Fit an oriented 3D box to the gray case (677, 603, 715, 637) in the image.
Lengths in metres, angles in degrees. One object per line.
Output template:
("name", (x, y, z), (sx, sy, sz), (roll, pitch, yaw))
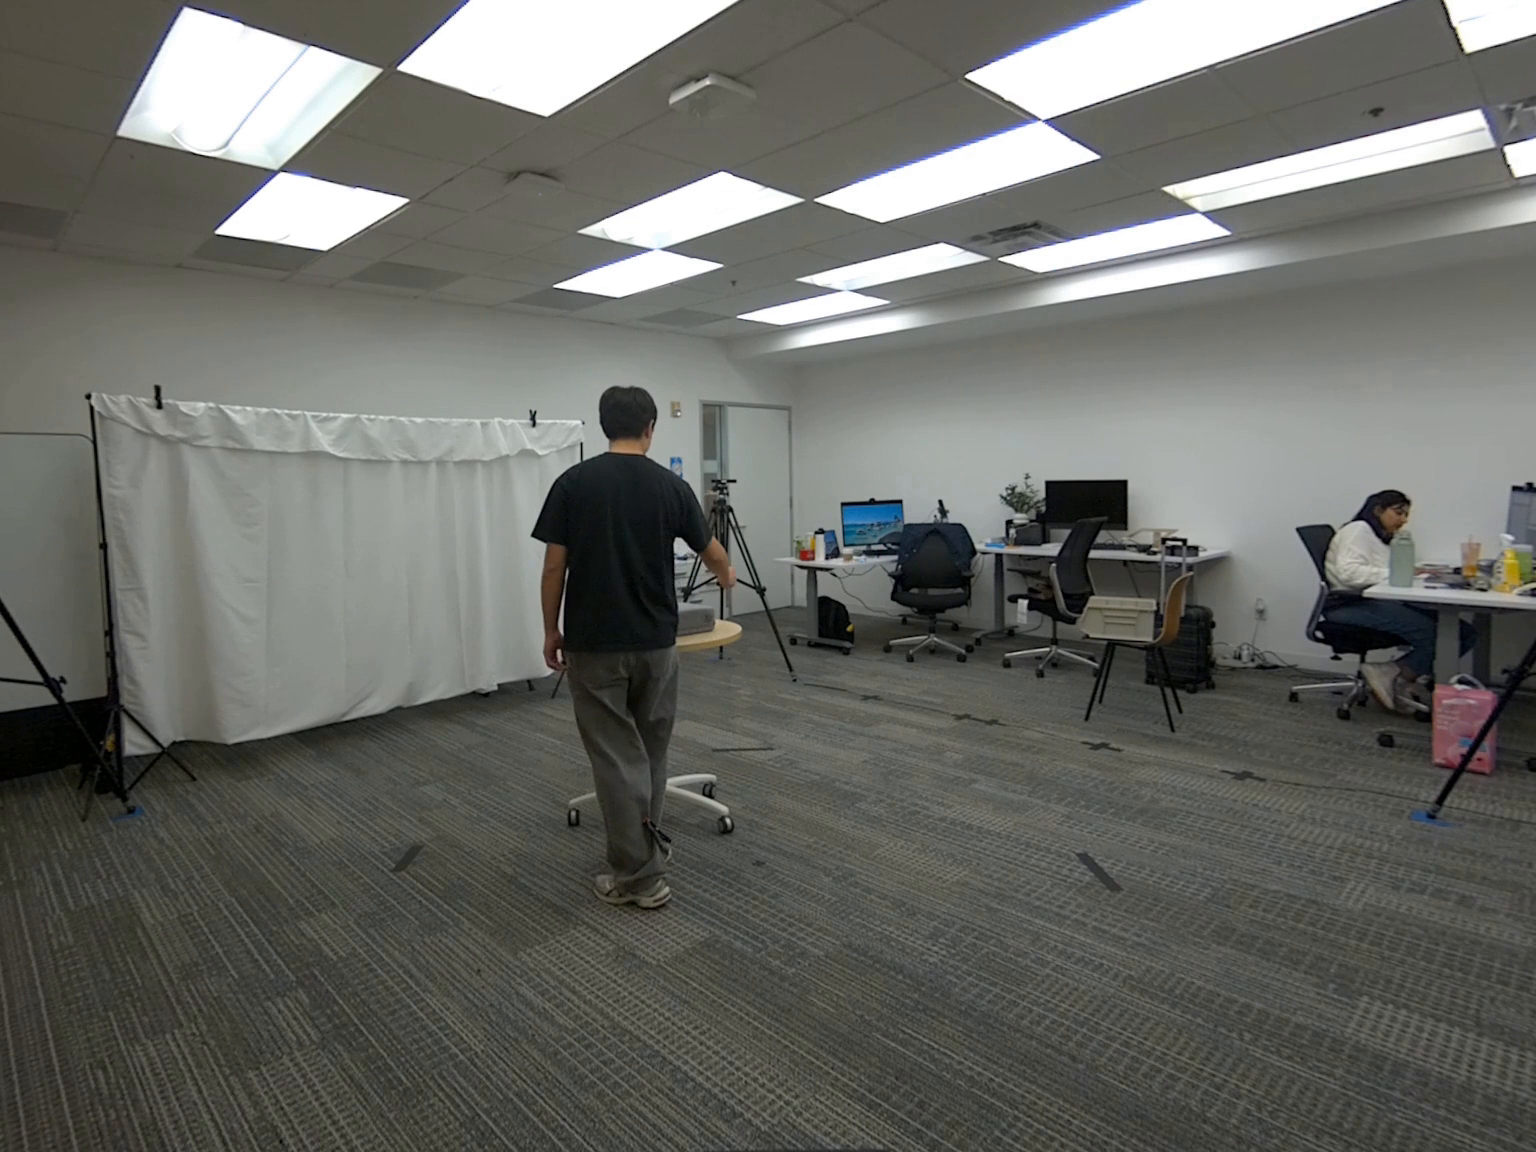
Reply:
("gray case", (-0.364, 0.173, 3.505), (0.280, 0.102, 0.271), (-7, 7, -35))
